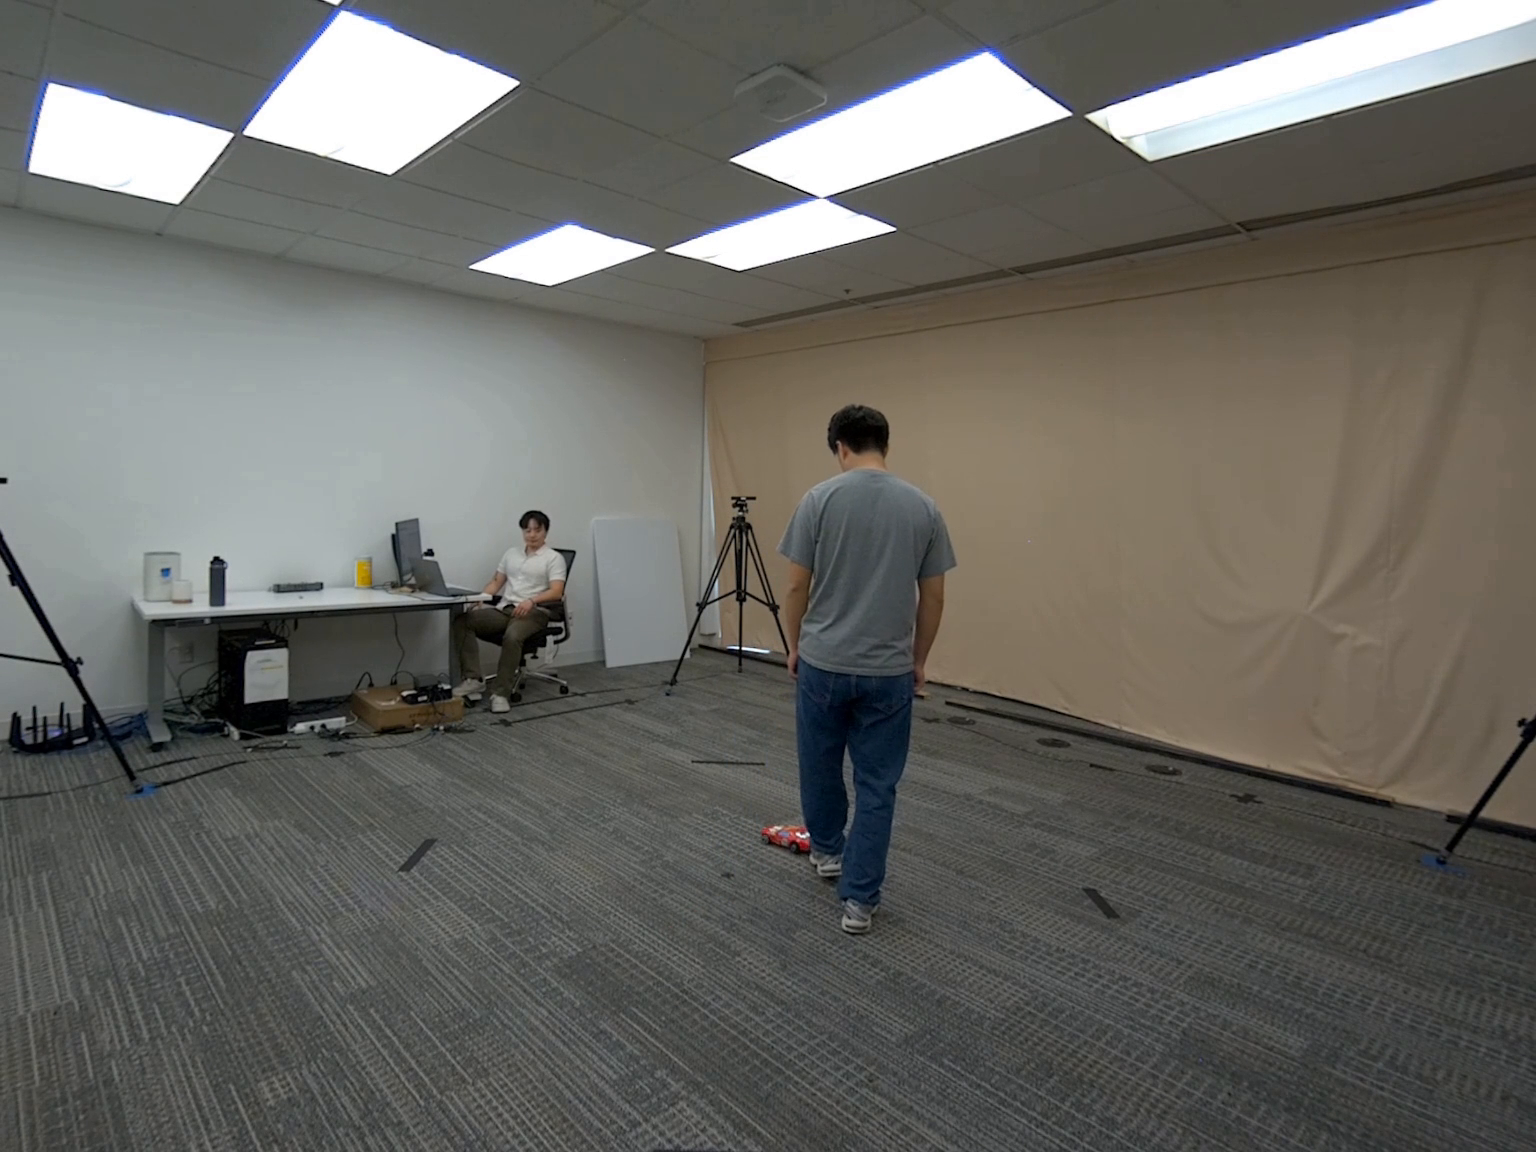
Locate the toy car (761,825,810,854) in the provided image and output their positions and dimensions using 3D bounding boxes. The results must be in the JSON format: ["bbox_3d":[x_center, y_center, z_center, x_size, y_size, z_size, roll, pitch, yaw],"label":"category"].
[{"bbox_3d":[0.087,1.054,3.375,0.259,0.083,0.127,-10,-4,39],"label":"toy car"}]
